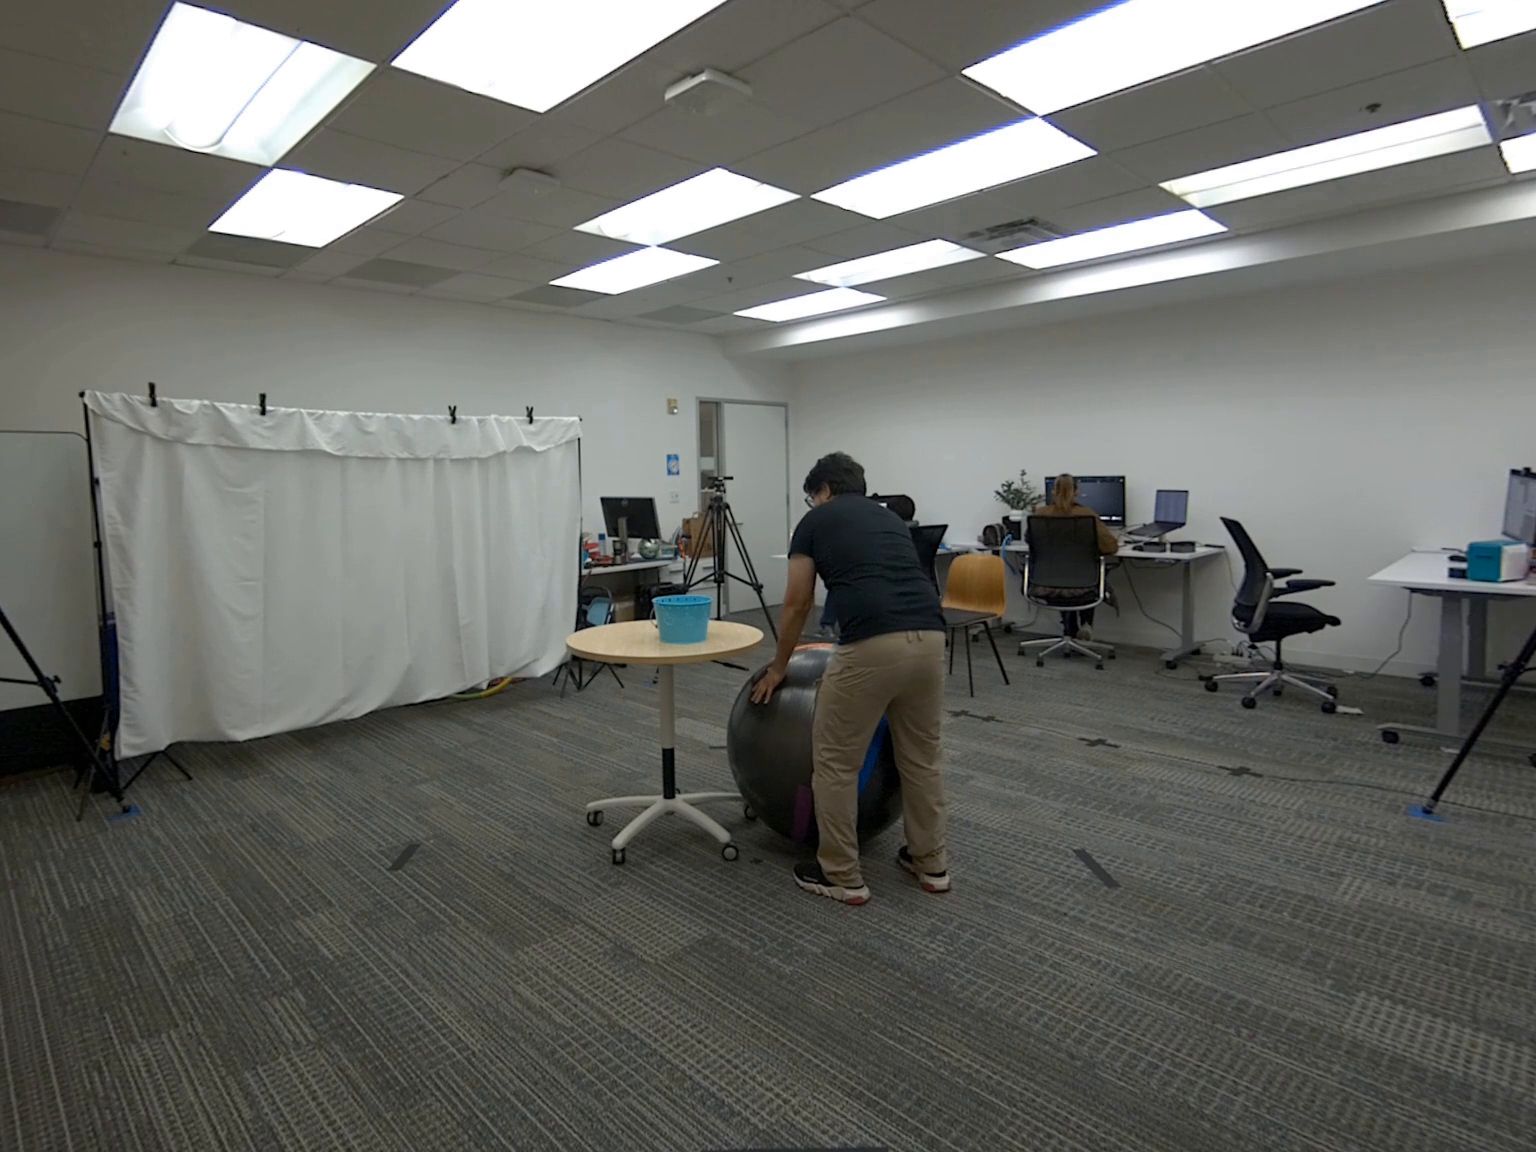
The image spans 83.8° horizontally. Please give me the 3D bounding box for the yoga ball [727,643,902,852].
[{"bbox_3d":[0.230,0.649,3.286,0.757,0.755,0.762,-1,5,-2],"label":"yoga ball"}]
